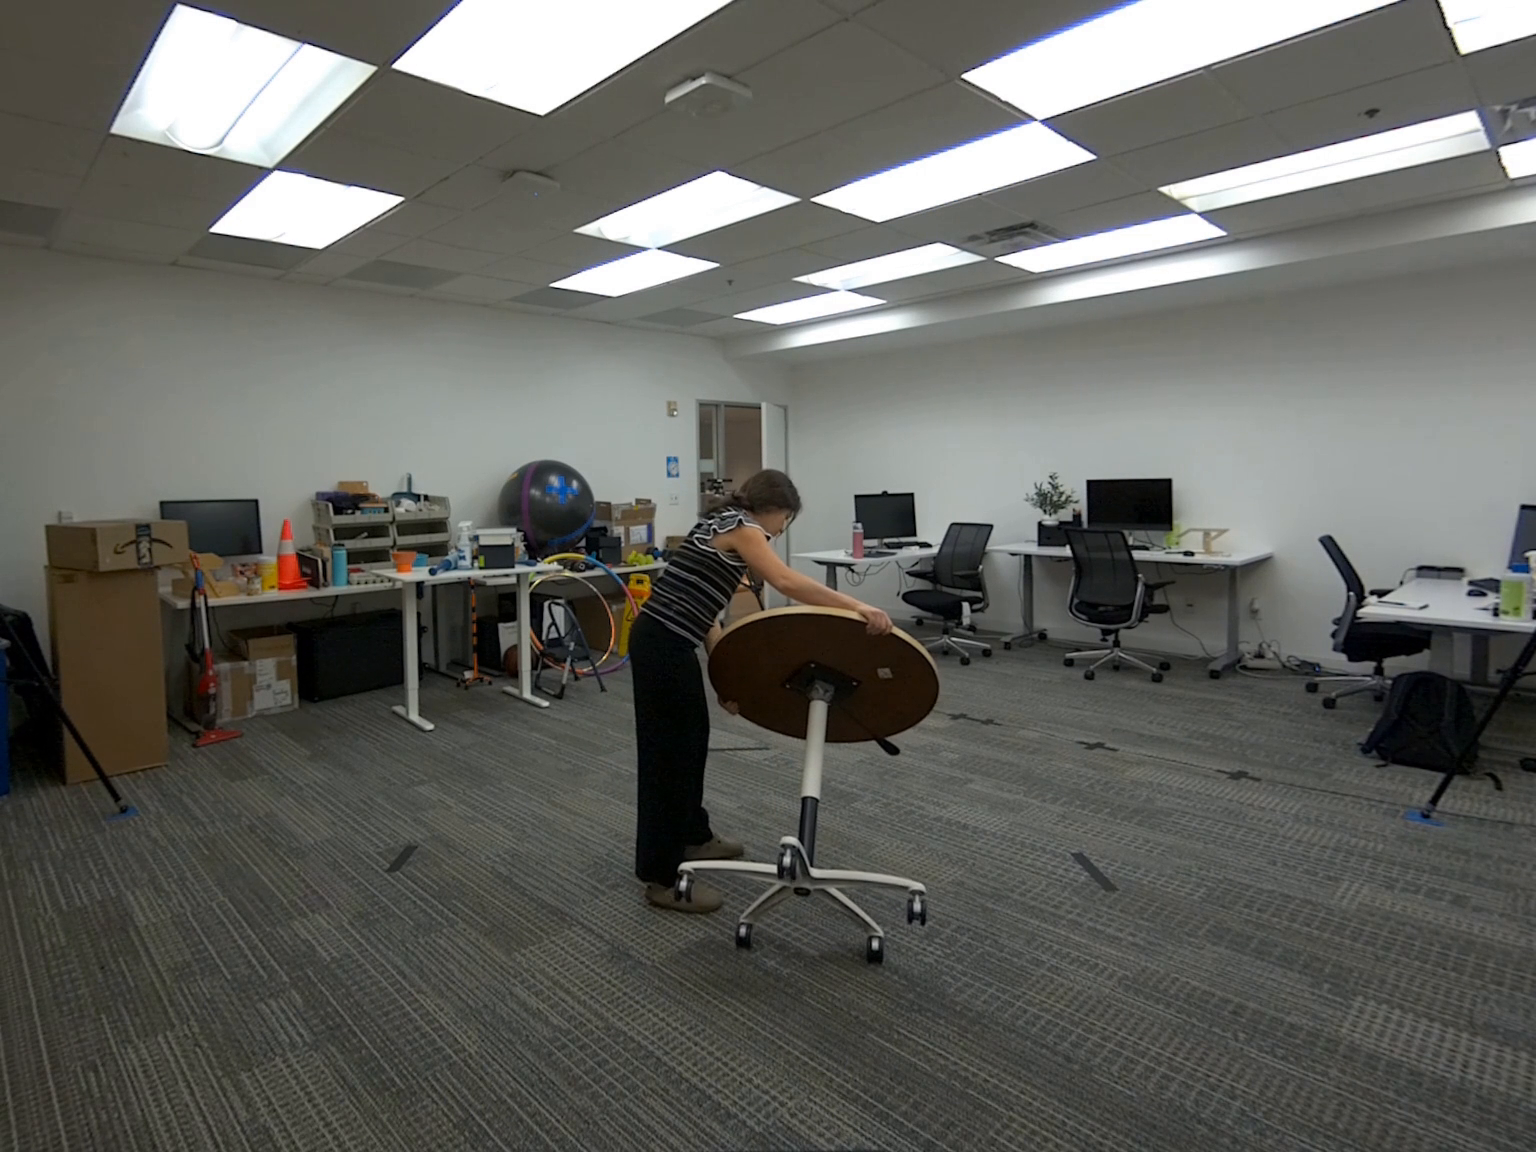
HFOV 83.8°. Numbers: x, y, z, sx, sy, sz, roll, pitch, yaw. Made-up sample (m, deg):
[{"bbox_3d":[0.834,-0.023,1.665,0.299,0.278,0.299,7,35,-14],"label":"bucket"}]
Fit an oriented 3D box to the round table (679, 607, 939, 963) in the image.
[{"bbox_3d":[0.137,0.644,2.583,0.773,0.811,0.739,0,-41,12],"label":"round table"}]
